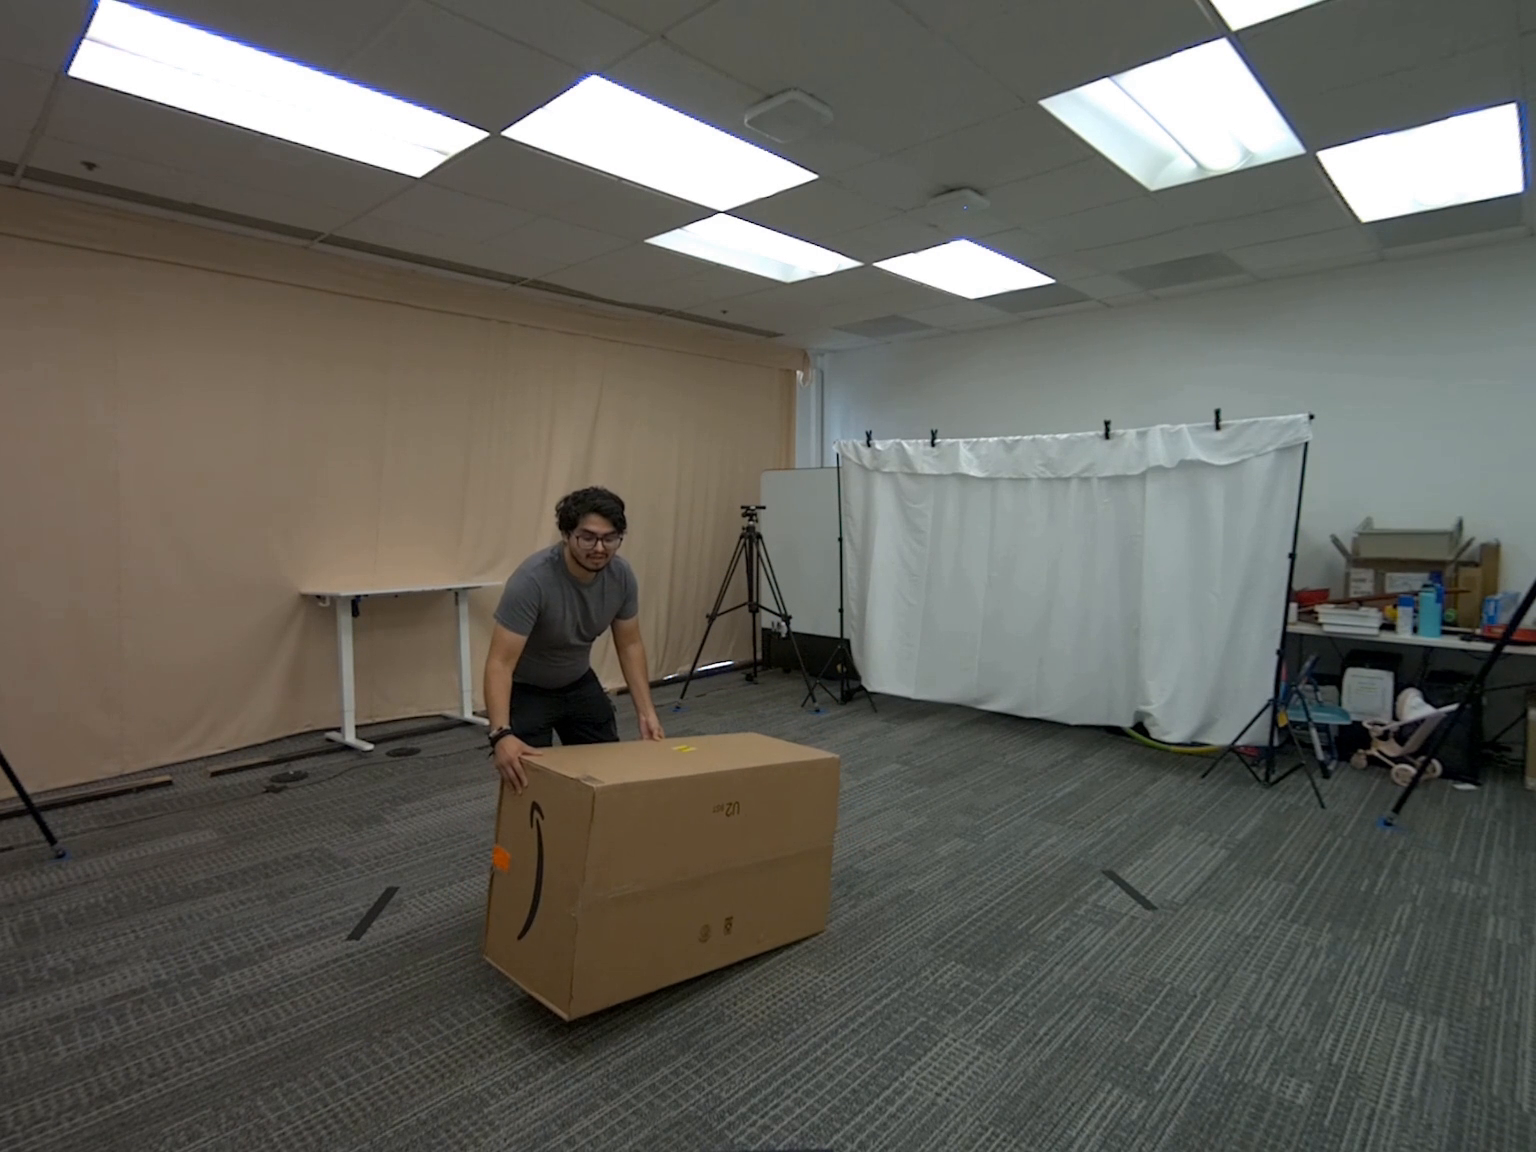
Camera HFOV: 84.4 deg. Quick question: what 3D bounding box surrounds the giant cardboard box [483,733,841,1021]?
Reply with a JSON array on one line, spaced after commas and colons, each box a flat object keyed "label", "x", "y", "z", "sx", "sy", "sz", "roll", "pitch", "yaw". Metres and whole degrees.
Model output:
[{"label": "giant cardboard box", "x": -0.271, "y": 0.837, "z": 2.561, "sx": 0.440, "sy": 0.578, "sz": 0.991, "roll": 3, "pitch": -2, "yaw": 44}]
